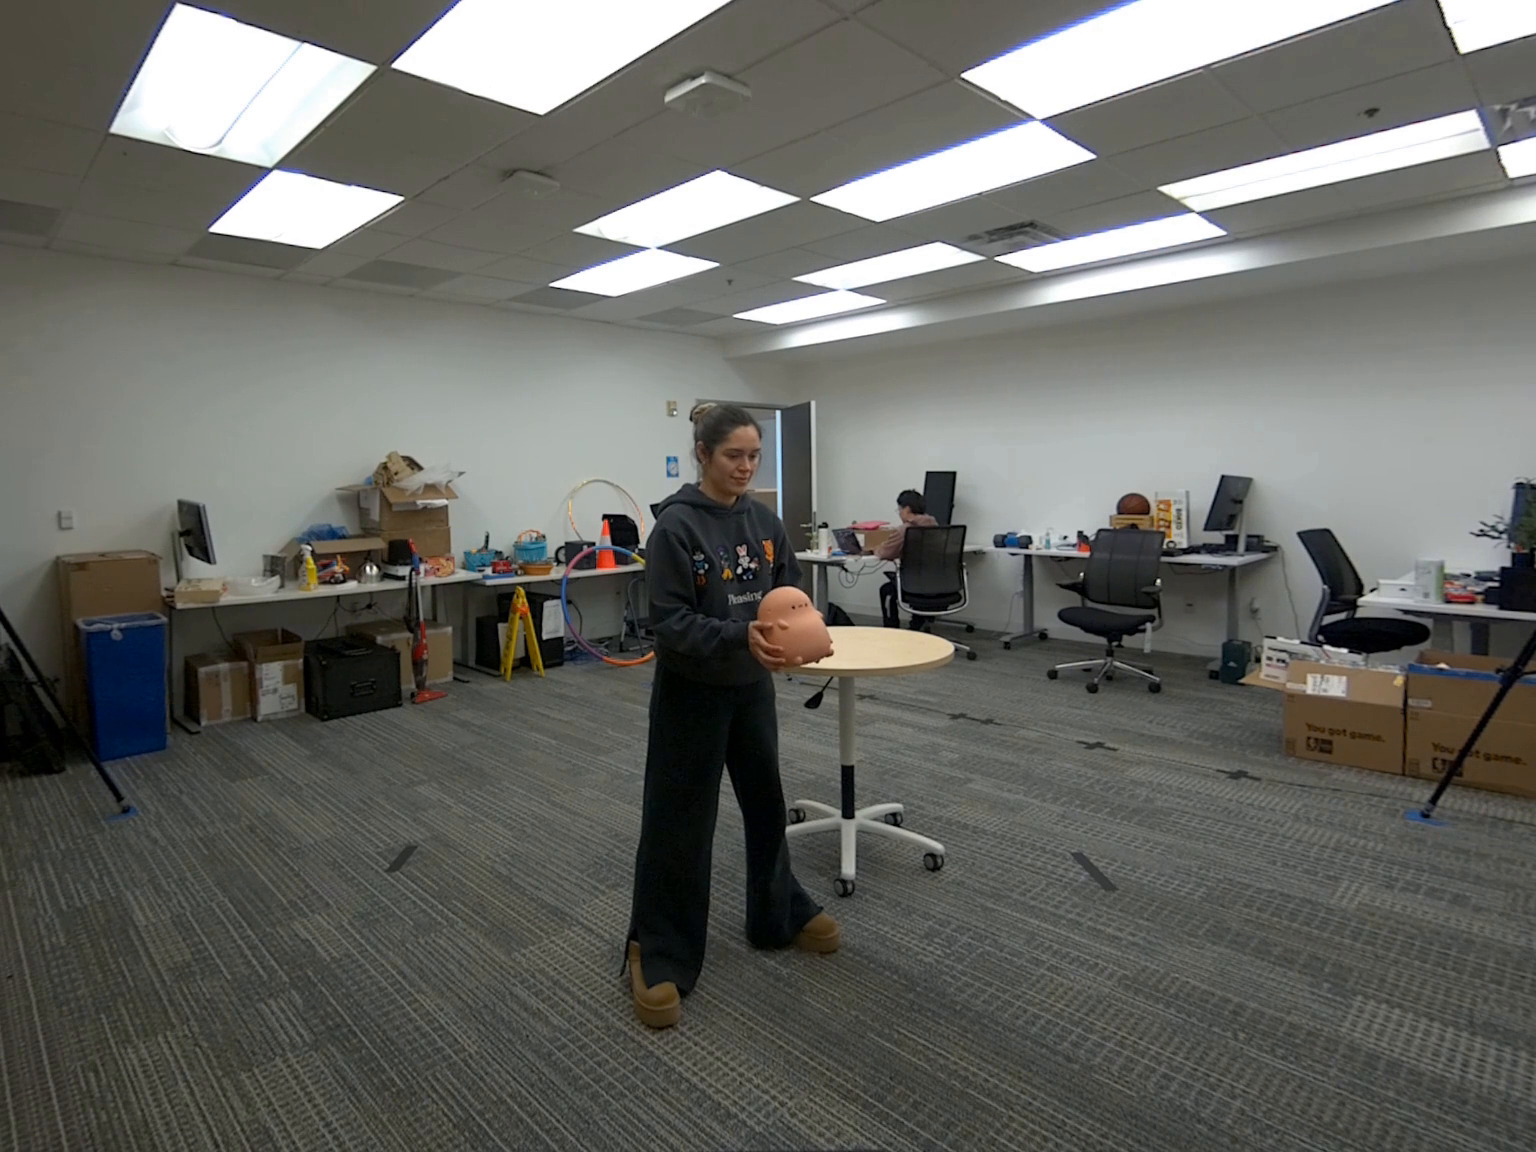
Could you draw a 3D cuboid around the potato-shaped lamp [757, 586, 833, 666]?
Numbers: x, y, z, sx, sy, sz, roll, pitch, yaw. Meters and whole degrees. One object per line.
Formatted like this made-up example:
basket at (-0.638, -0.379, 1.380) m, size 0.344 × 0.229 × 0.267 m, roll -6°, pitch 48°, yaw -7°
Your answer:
potato-shaped lamp at (0.055, 0.127, 2.114) m, size 0.161 × 0.199 × 0.174 m, roll -11°, pitch -5°, yaw -32°
